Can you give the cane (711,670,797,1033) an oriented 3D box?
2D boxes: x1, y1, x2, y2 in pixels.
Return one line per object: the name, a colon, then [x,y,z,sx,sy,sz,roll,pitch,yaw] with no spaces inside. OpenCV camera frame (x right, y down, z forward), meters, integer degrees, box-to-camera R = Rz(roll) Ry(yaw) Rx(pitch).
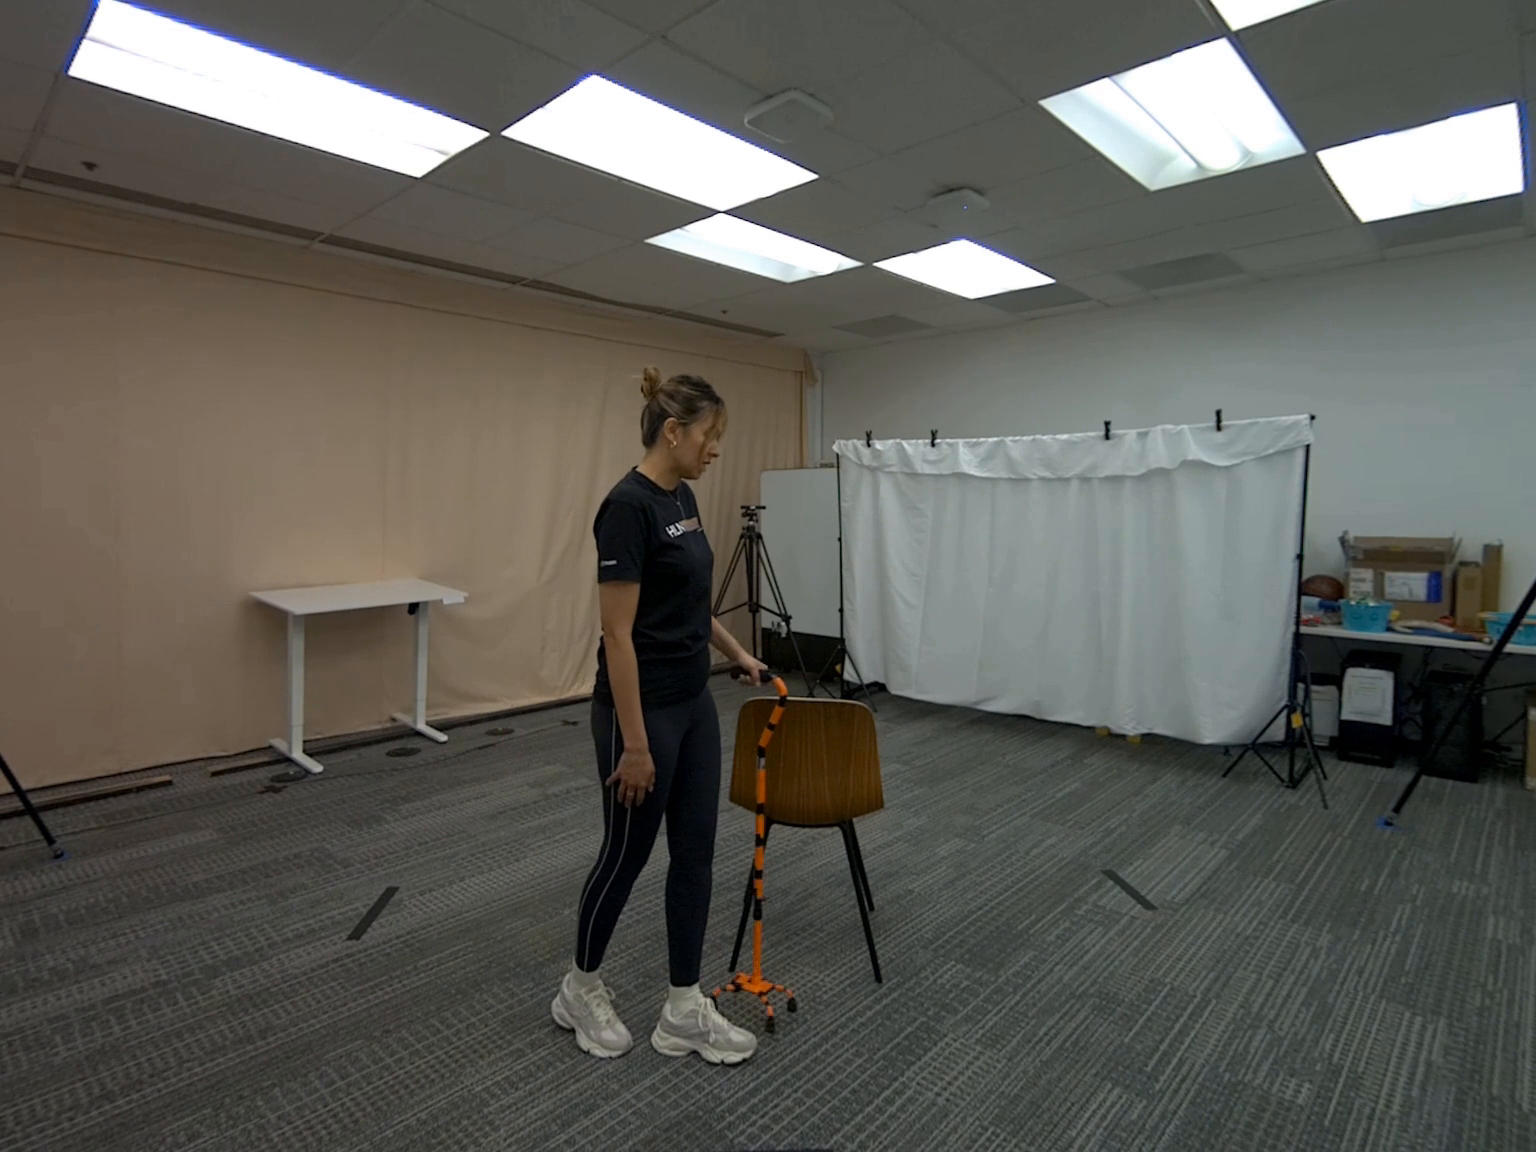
cane: [-0.022,0.715,2.269,0.213,0.908,0.147,2,0,34]
